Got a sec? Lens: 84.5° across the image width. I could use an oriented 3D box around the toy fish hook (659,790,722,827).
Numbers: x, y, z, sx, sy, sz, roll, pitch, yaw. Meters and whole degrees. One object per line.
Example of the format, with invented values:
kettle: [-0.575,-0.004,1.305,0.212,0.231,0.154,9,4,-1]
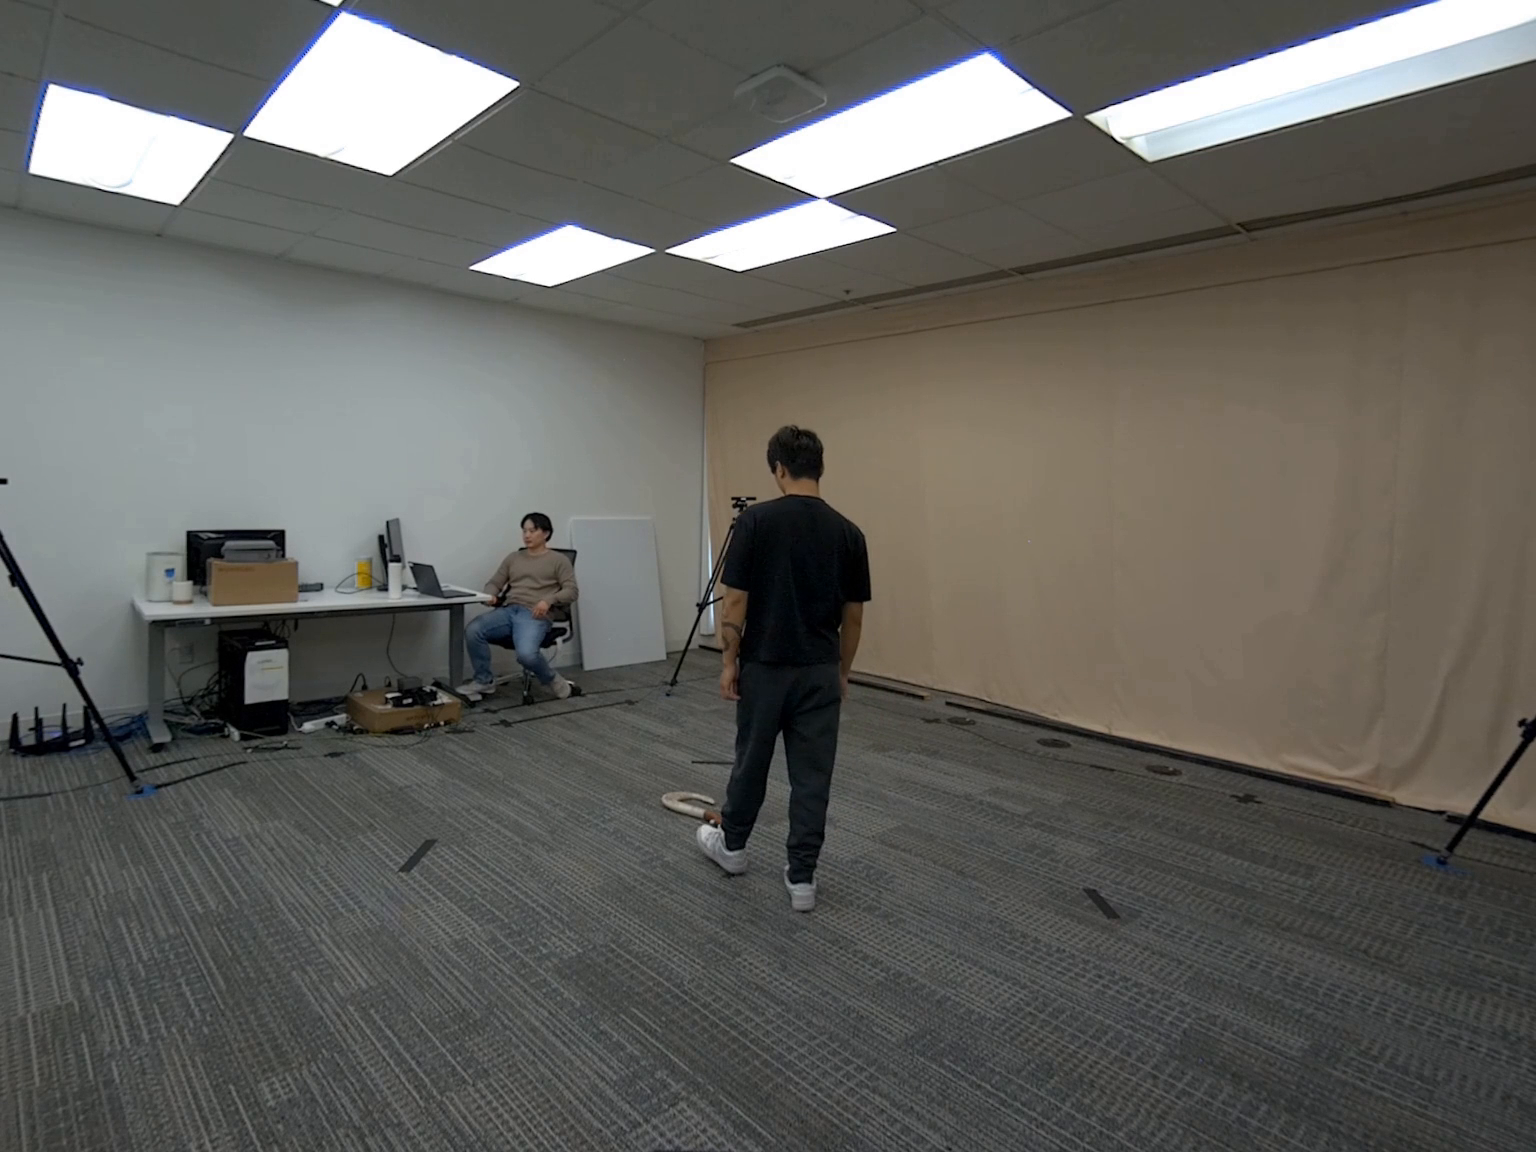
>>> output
toy fish hook: [-0.277,1.028,3.710,0.219,0.048,0.520,-4,8,-40]
